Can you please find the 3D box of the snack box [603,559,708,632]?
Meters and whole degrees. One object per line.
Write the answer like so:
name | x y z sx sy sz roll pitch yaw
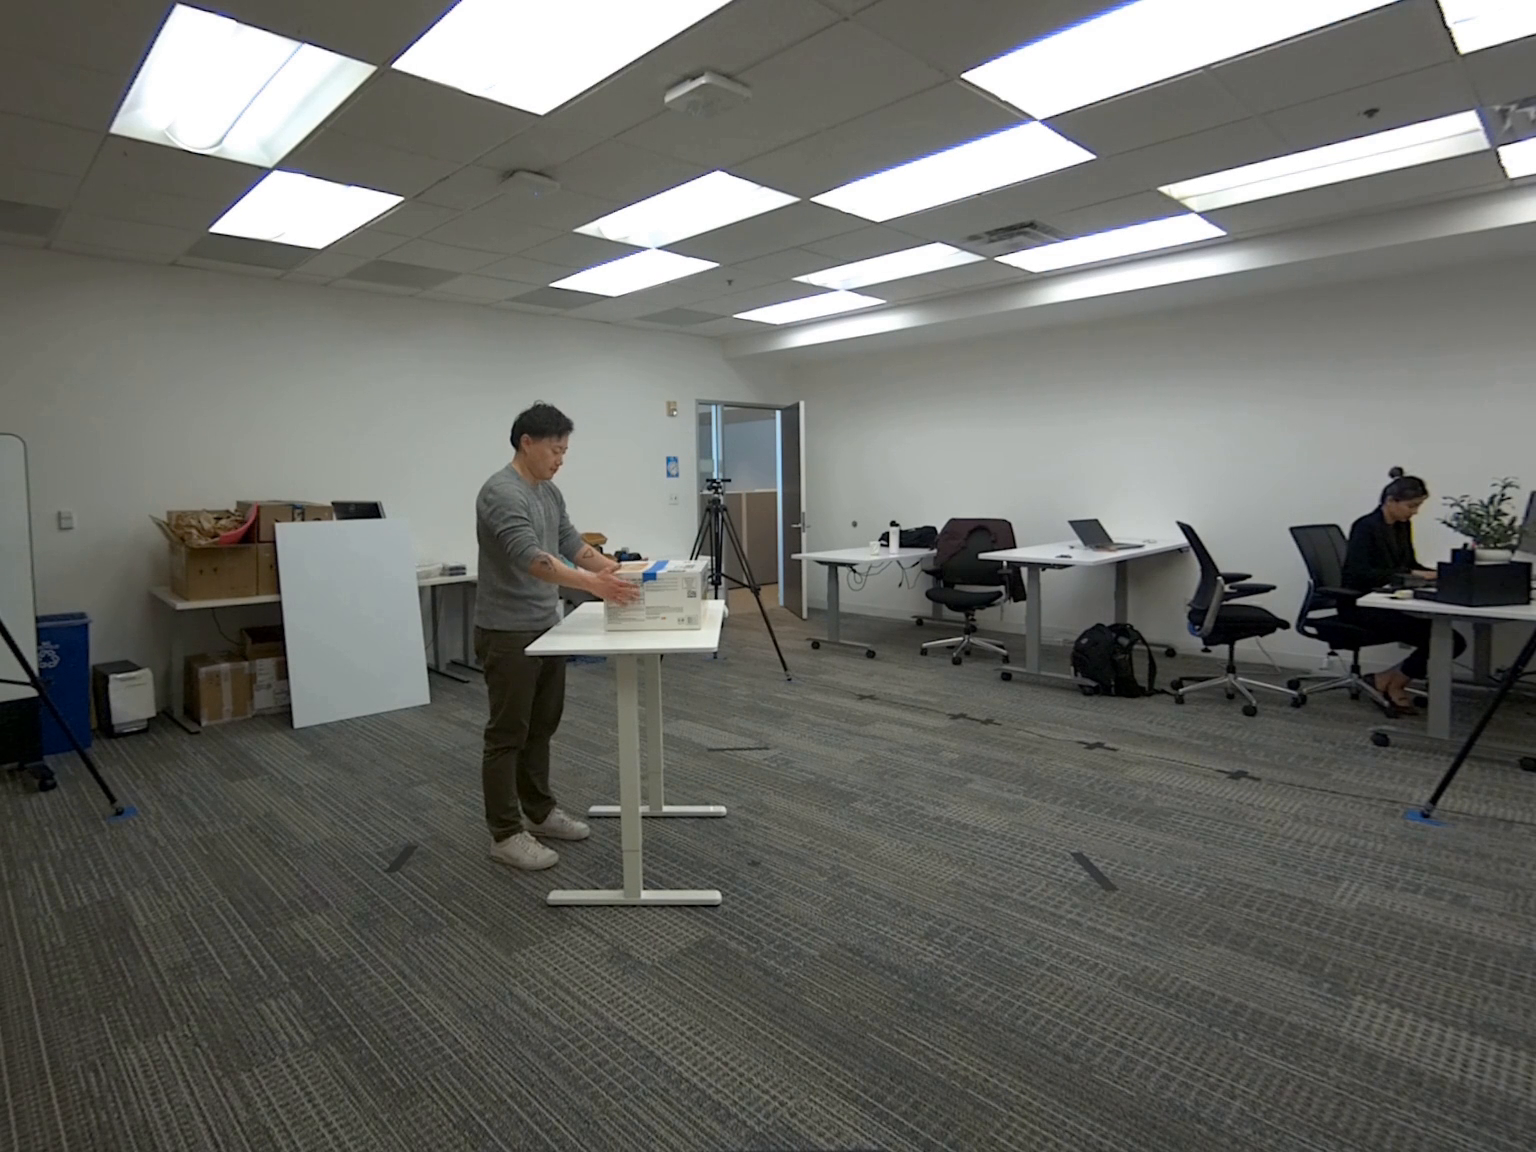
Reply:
snack box | -0.407 0.068 3.138 0.341 0.205 0.406 -2 6 2
